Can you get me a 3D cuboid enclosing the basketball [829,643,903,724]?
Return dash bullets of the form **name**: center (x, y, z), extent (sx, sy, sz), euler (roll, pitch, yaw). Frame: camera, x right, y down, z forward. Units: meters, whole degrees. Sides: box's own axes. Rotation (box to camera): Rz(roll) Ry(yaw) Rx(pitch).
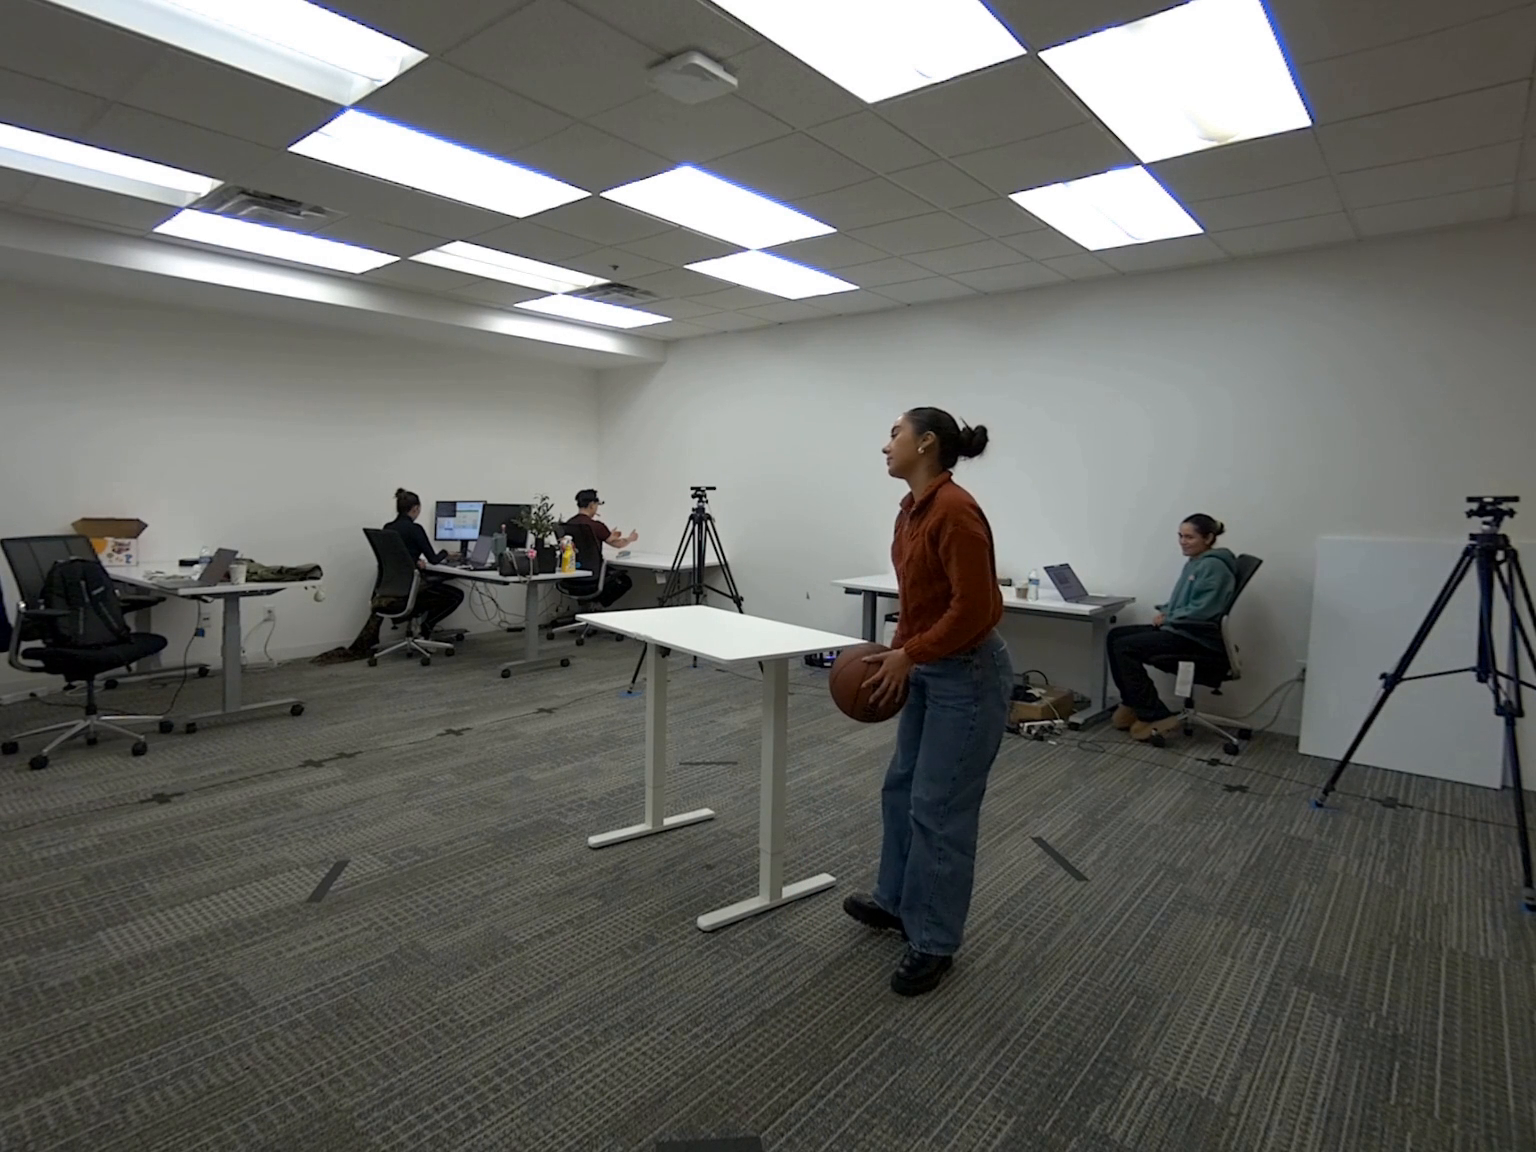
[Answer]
- **basketball**: center (0.299, 0.309, 2.511), extent (0.235, 0.235, 0.237), euler (1, 4, -2)
